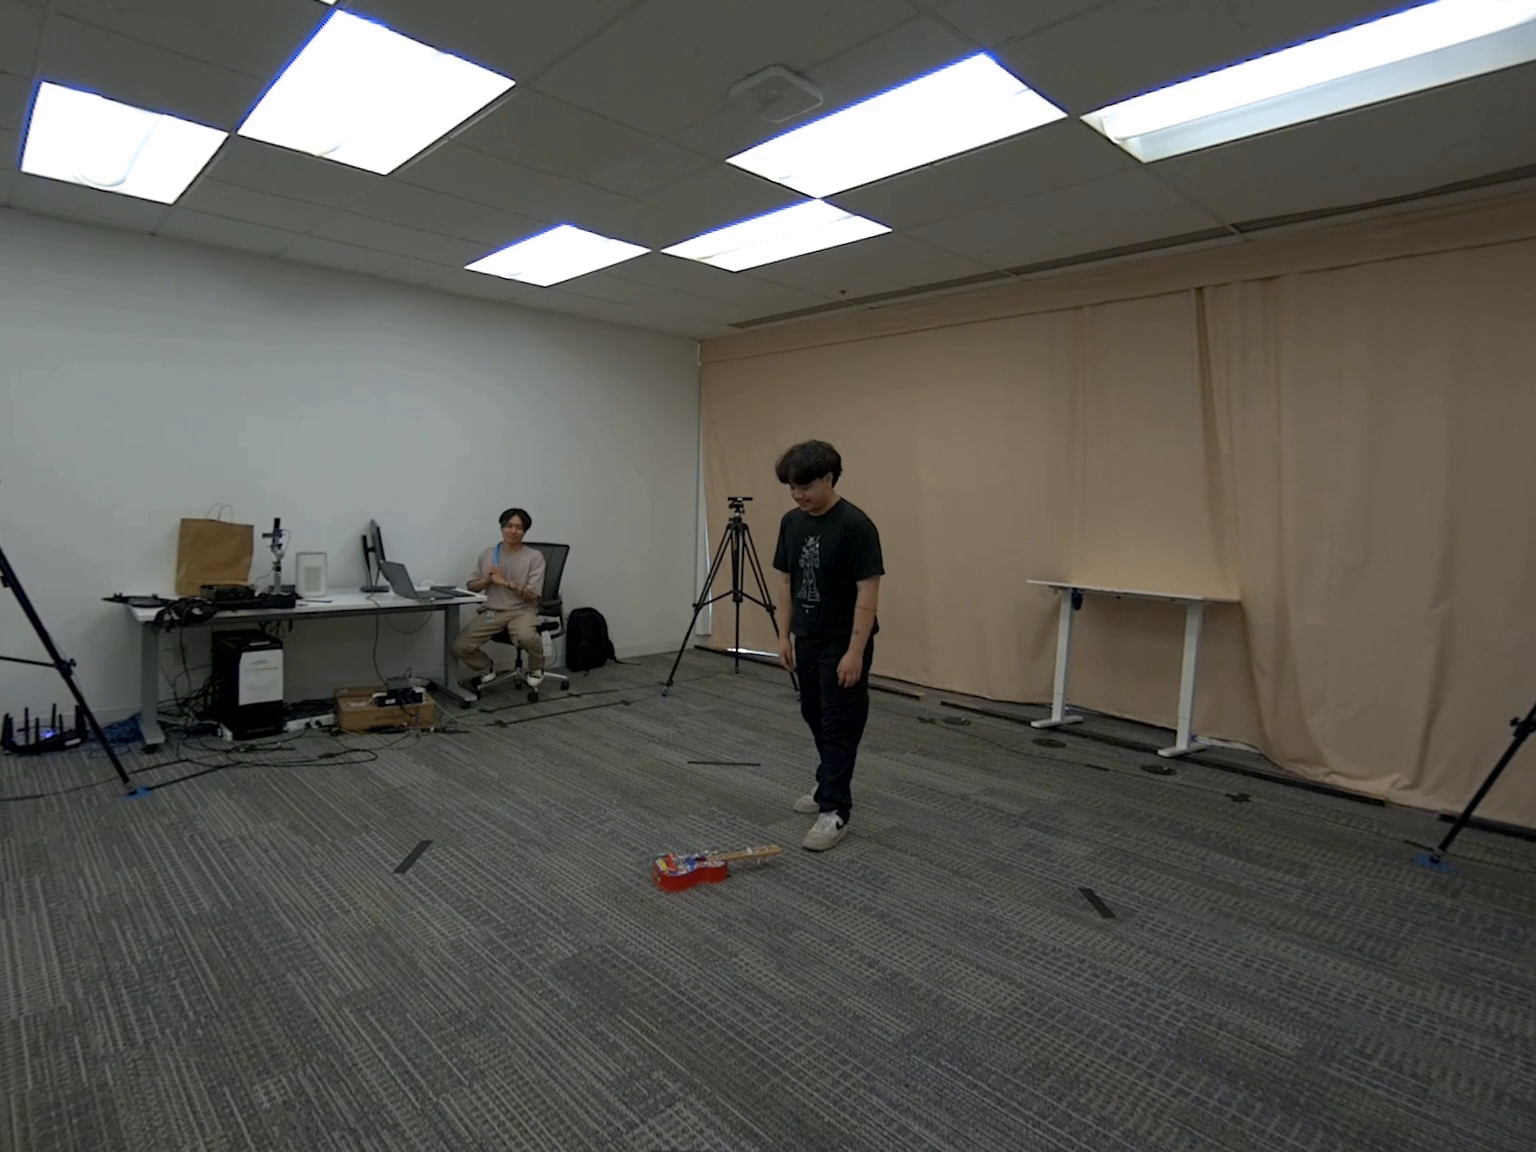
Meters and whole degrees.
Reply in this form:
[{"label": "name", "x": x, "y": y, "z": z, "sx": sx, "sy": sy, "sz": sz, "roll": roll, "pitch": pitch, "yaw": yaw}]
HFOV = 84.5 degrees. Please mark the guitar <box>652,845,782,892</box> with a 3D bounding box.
[{"label": "guitar", "x": -0.180, "y": 1.072, "z": 3.103, "sx": 0.493, "sy": 0.070, "sz": 0.195, "roll": -1, "pitch": 5, "yaw": -12}]
